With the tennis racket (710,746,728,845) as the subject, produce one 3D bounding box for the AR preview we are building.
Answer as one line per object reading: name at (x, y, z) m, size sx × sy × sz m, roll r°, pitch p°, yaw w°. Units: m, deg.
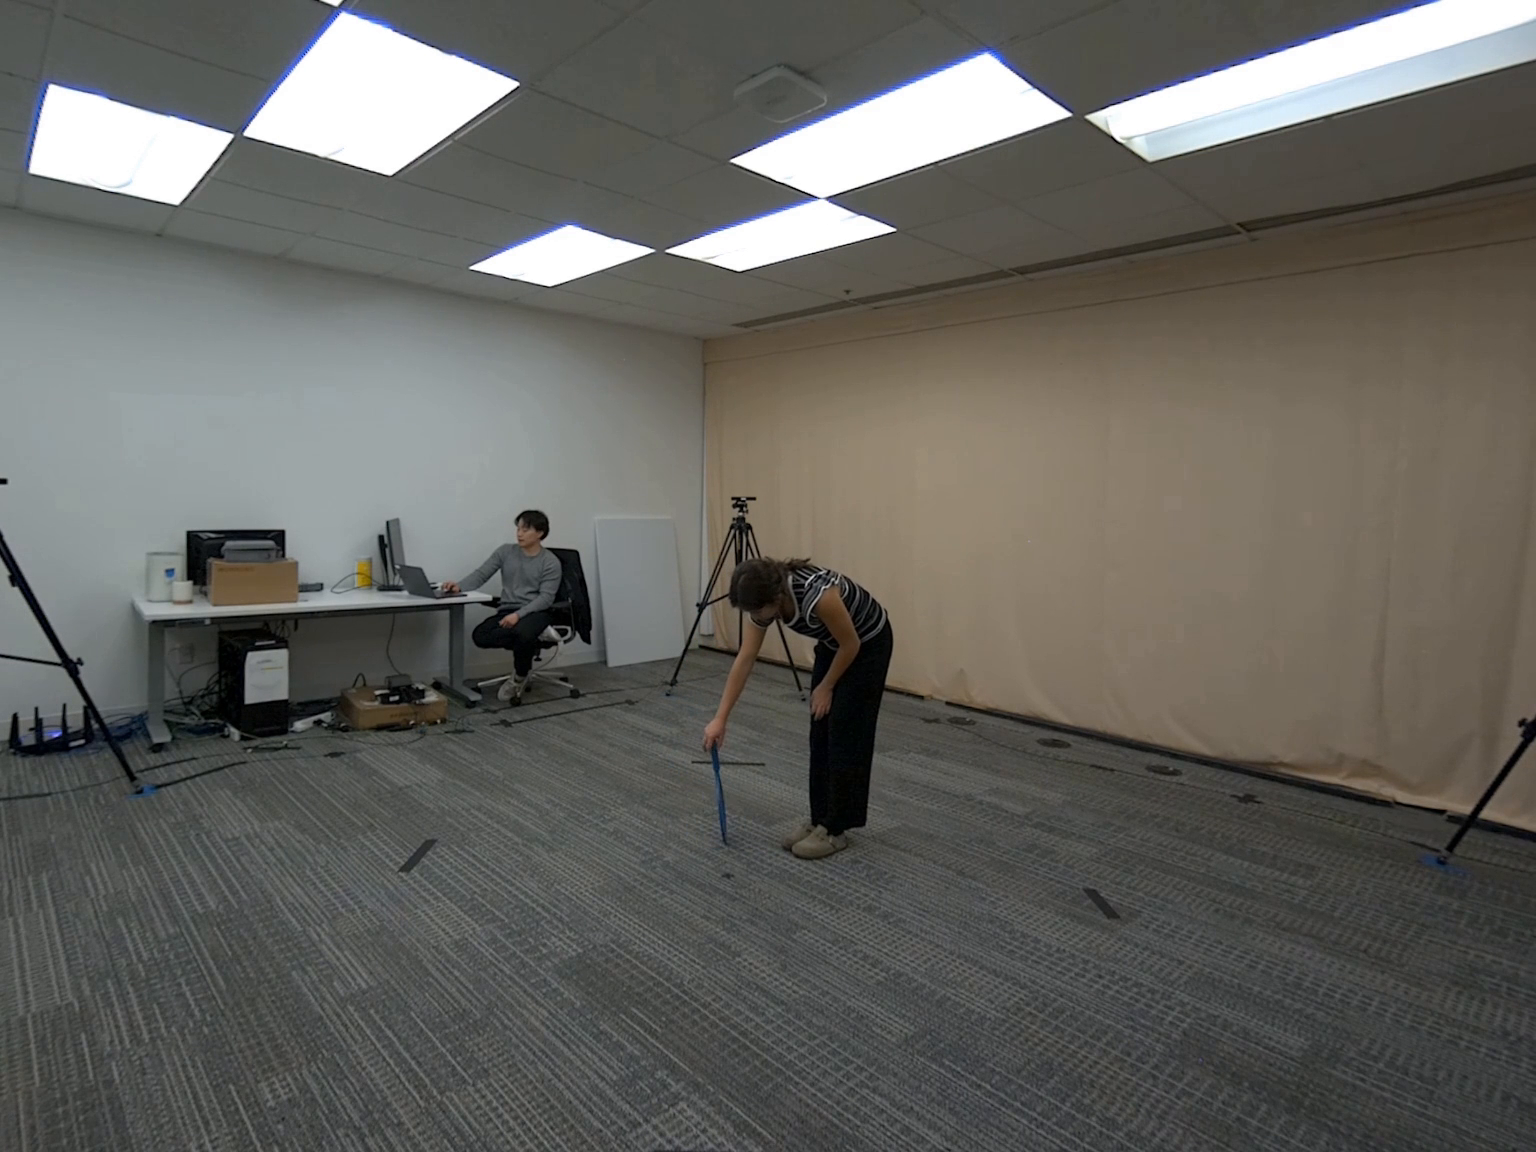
tennis racket at (-0.192, 0.871, 3.388) m, size 0.032 × 0.431 × 0.214 m, roll -4°, pitch 6°, yaw 1°
